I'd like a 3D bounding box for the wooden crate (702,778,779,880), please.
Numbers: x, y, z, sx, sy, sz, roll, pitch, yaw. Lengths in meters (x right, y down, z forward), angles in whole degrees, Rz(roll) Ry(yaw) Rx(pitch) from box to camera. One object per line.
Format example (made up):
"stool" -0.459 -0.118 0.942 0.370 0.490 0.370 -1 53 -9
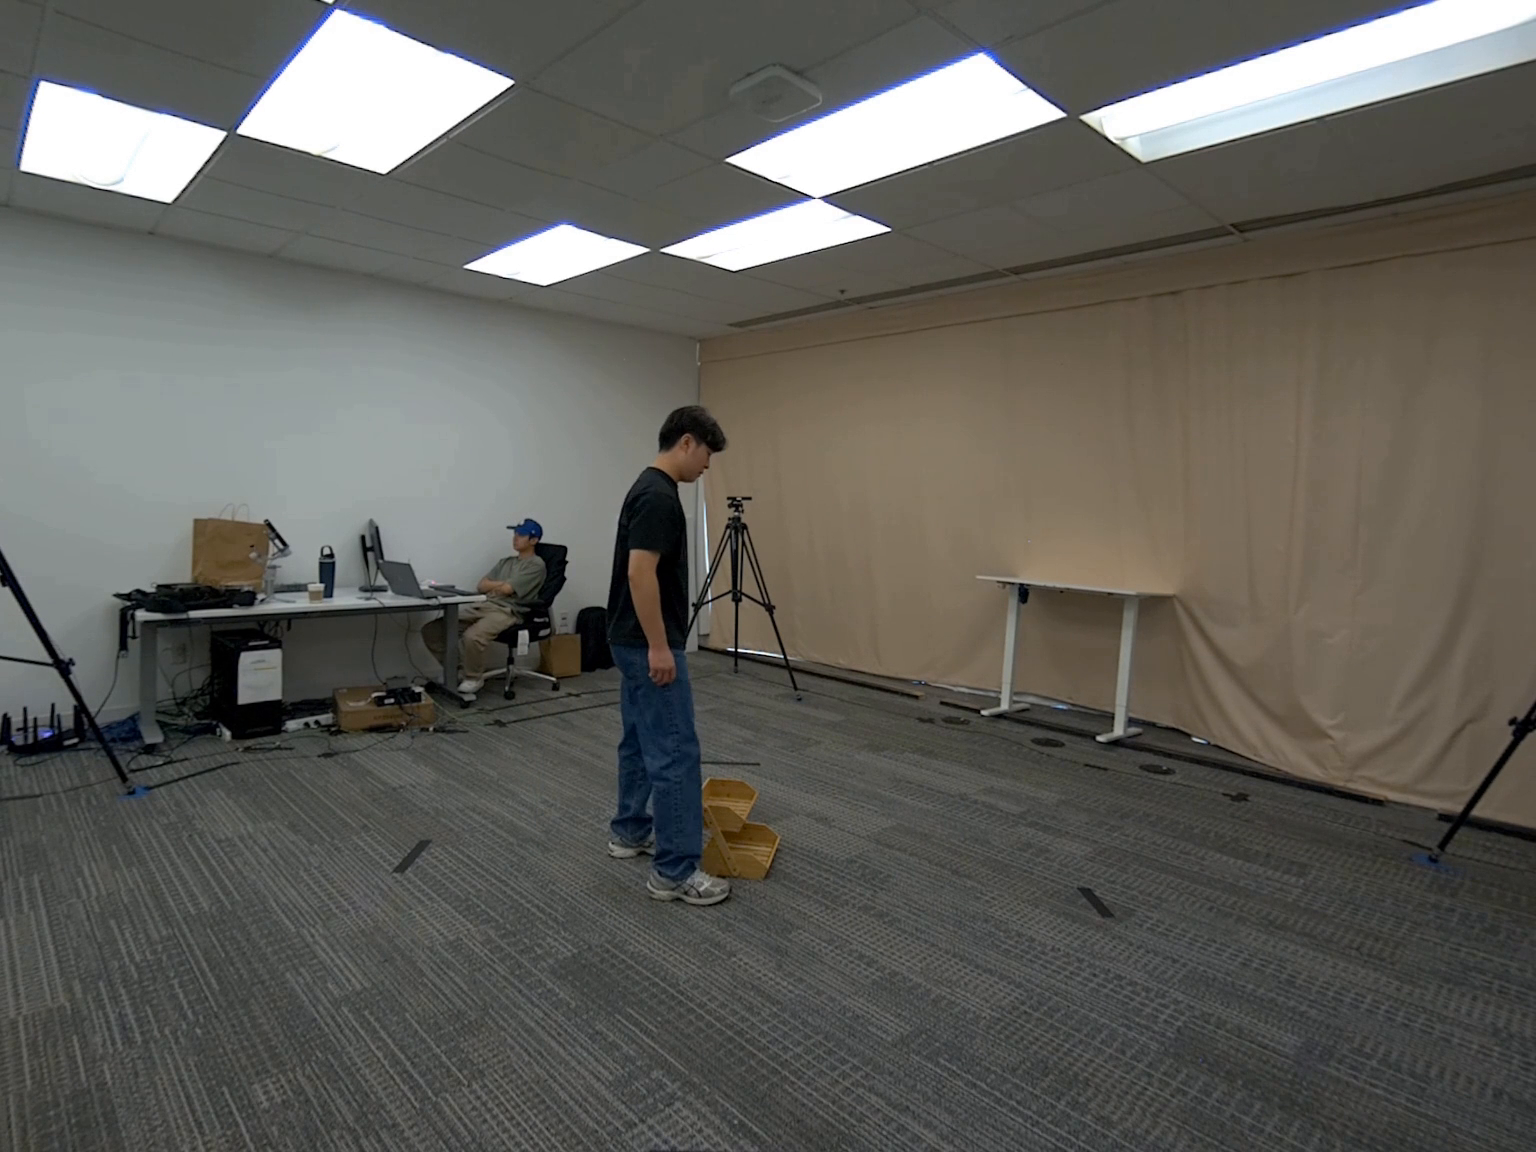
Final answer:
"wooden crate" -0.127 0.963 3.245 0.305 0.272 0.322 2 4 11
